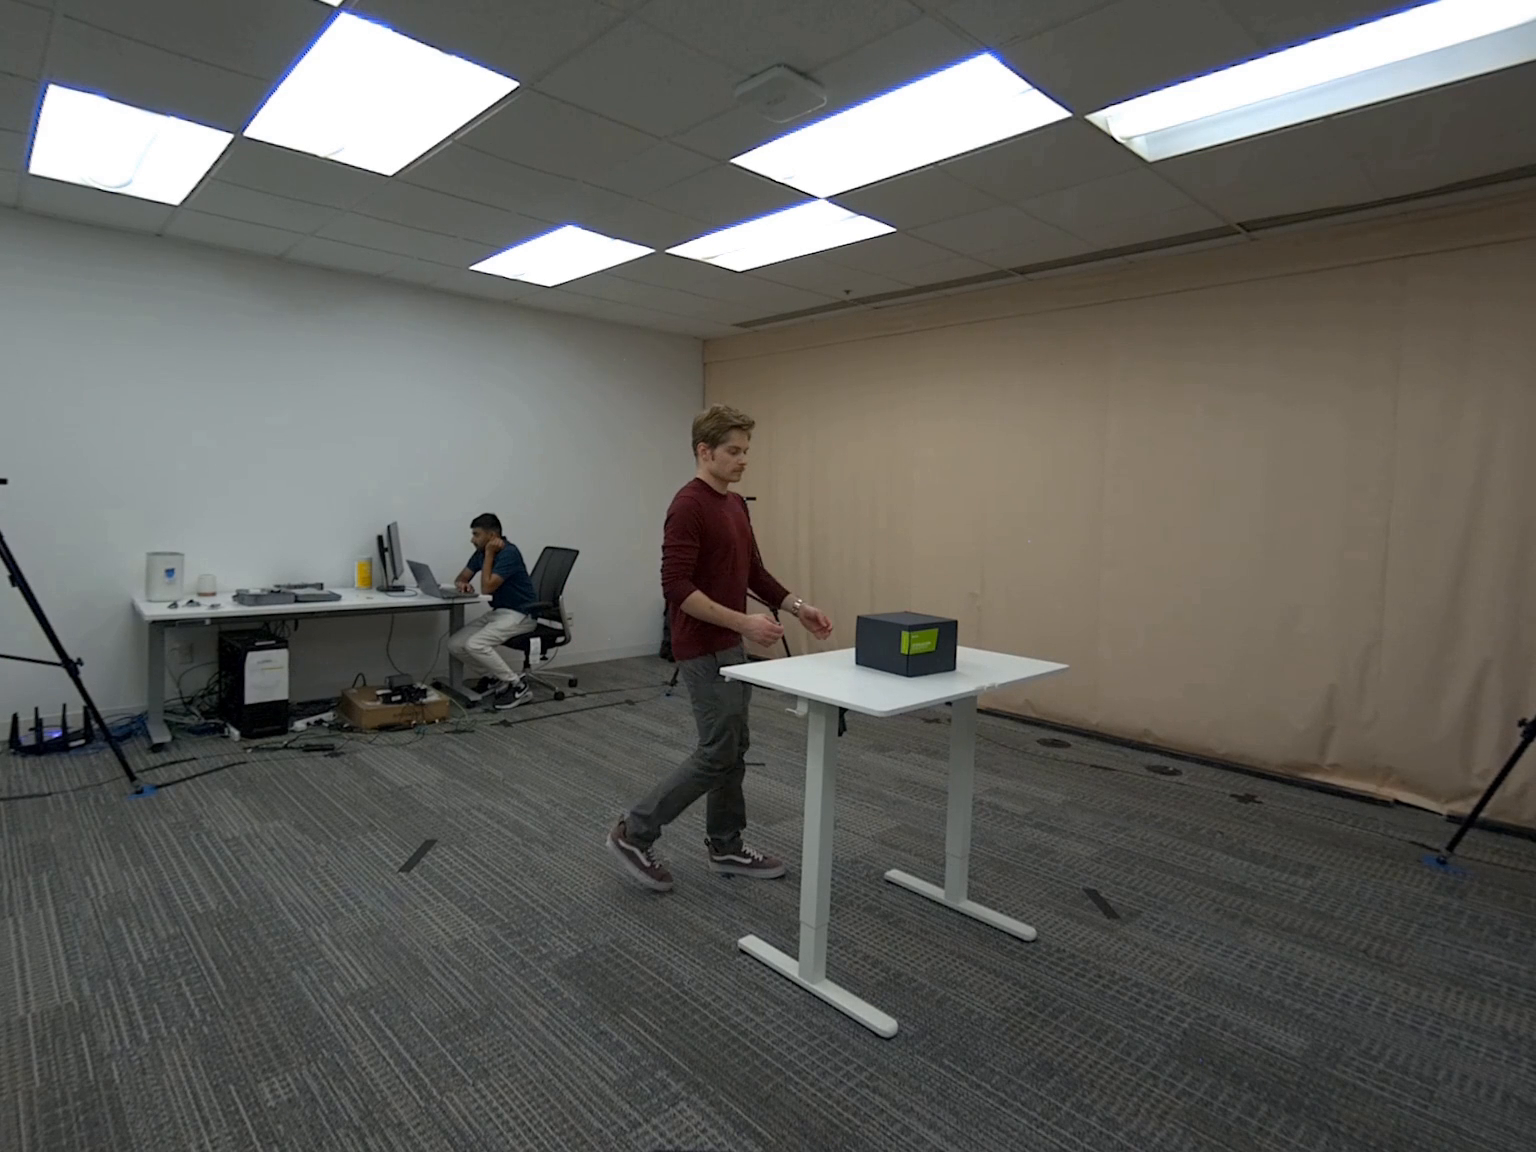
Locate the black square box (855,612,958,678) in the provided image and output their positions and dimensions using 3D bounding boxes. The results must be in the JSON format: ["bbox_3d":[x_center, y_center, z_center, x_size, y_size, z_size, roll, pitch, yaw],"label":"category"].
[{"bbox_3d":[0.420,0.204,2.598,0.223,0.155,0.222,-2,6,-39],"label":"black square box"}]
